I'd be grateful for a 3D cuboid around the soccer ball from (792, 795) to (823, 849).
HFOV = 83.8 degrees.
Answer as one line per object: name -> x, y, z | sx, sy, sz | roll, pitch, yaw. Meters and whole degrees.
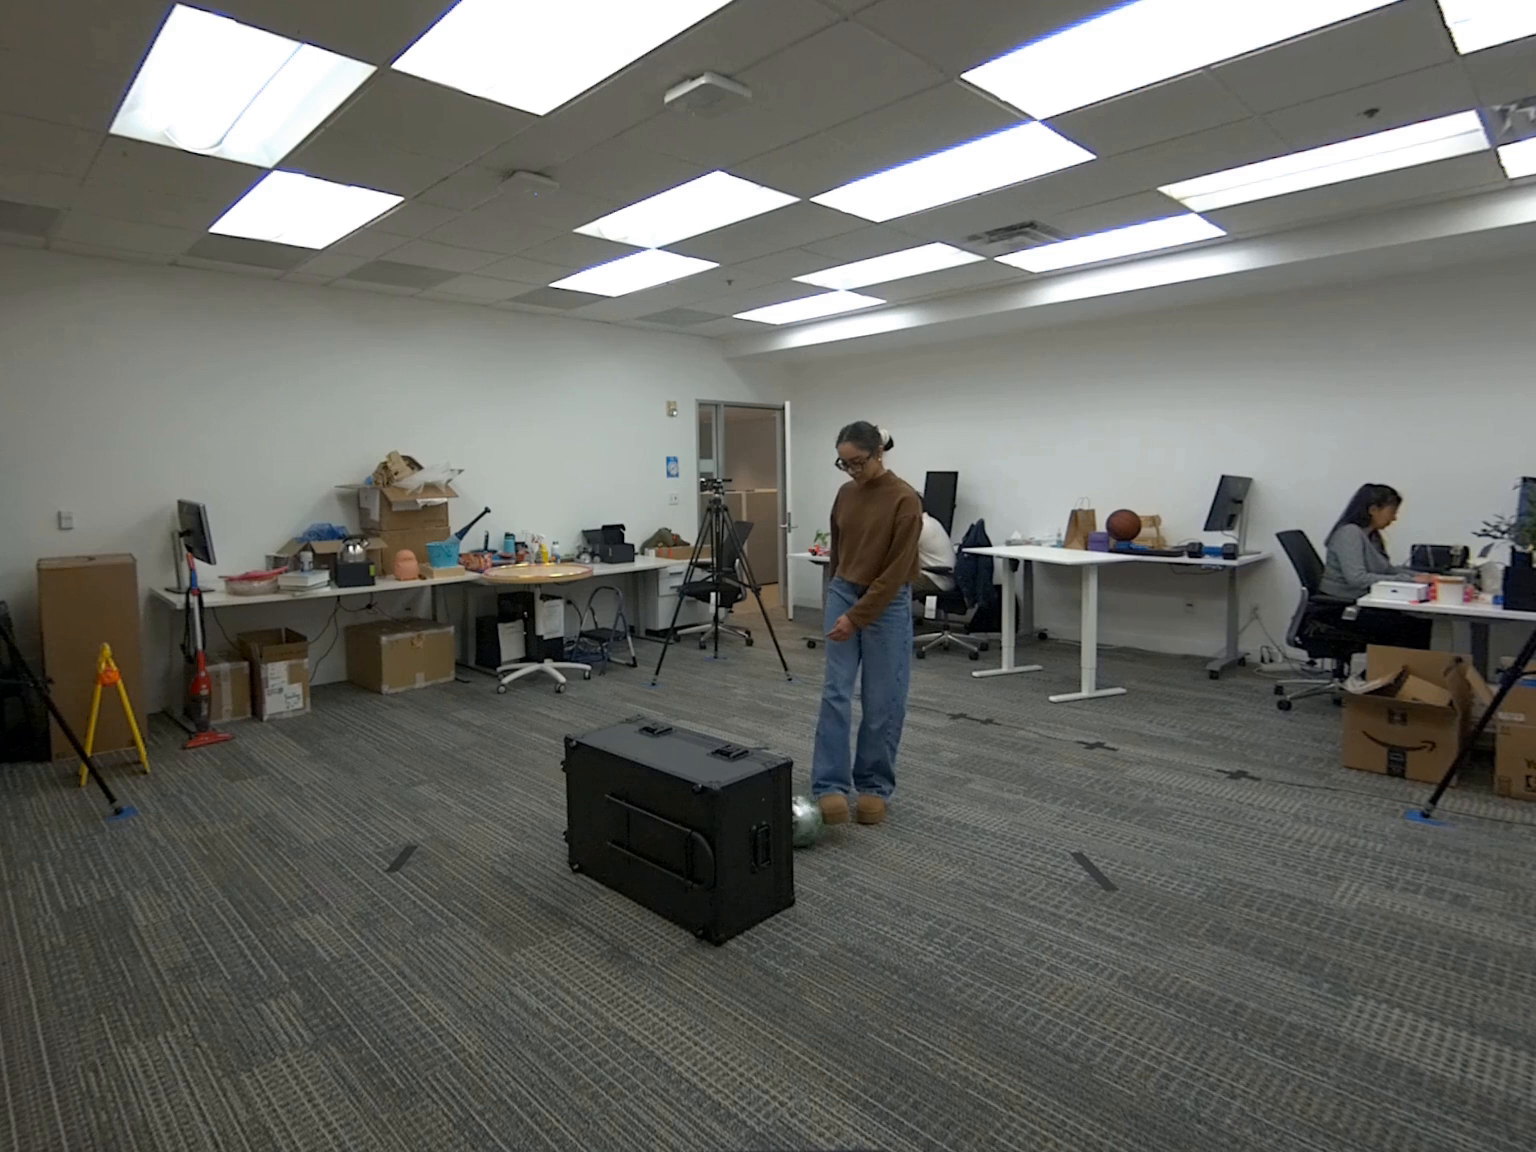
soccer ball -> 0.095, 0.928, 3.242 | 0.187, 0.187, 0.188 | -1, 5, -2
